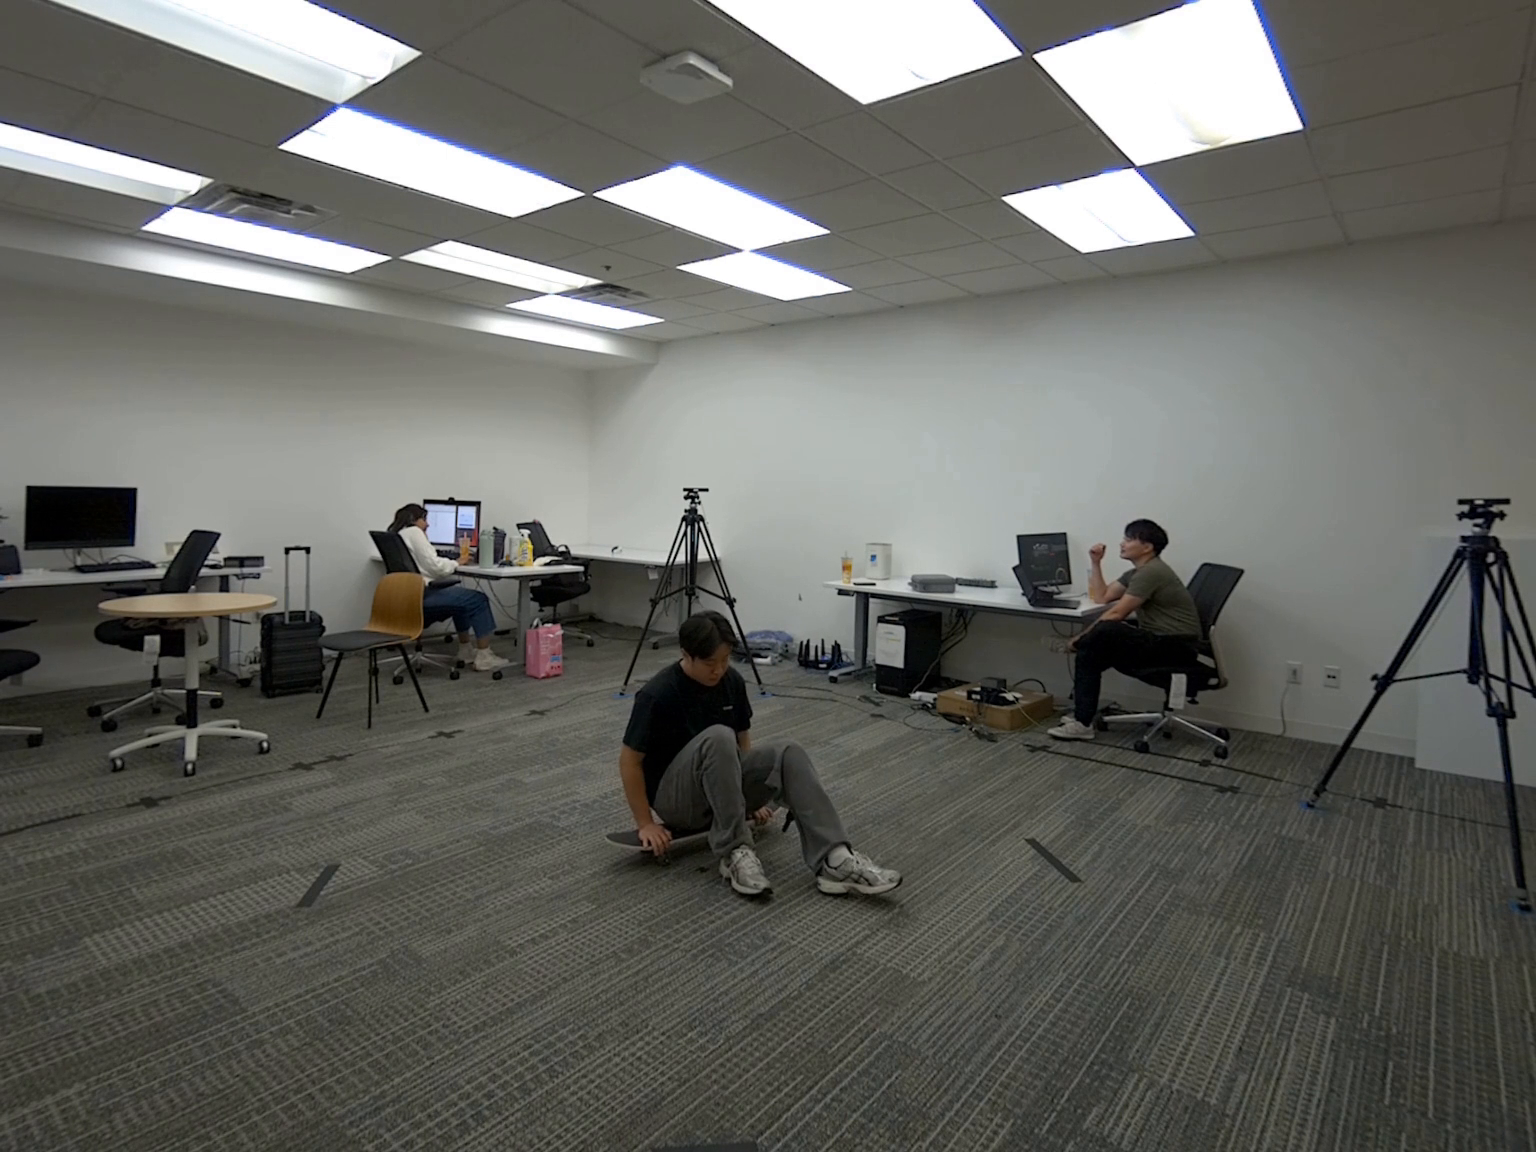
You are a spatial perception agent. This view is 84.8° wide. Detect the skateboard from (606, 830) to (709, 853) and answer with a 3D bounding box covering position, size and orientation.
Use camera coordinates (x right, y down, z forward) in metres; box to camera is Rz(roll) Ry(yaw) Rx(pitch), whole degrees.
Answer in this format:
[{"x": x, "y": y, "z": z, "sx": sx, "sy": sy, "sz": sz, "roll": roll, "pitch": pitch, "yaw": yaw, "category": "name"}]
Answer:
[{"x": -0.261, "y": 0.990, "z": 3.310, "sx": 0.763, "sy": 0.110, "sz": 0.199, "roll": -5, "pitch": 2, "yaw": -36, "category": "skateboard"}]
